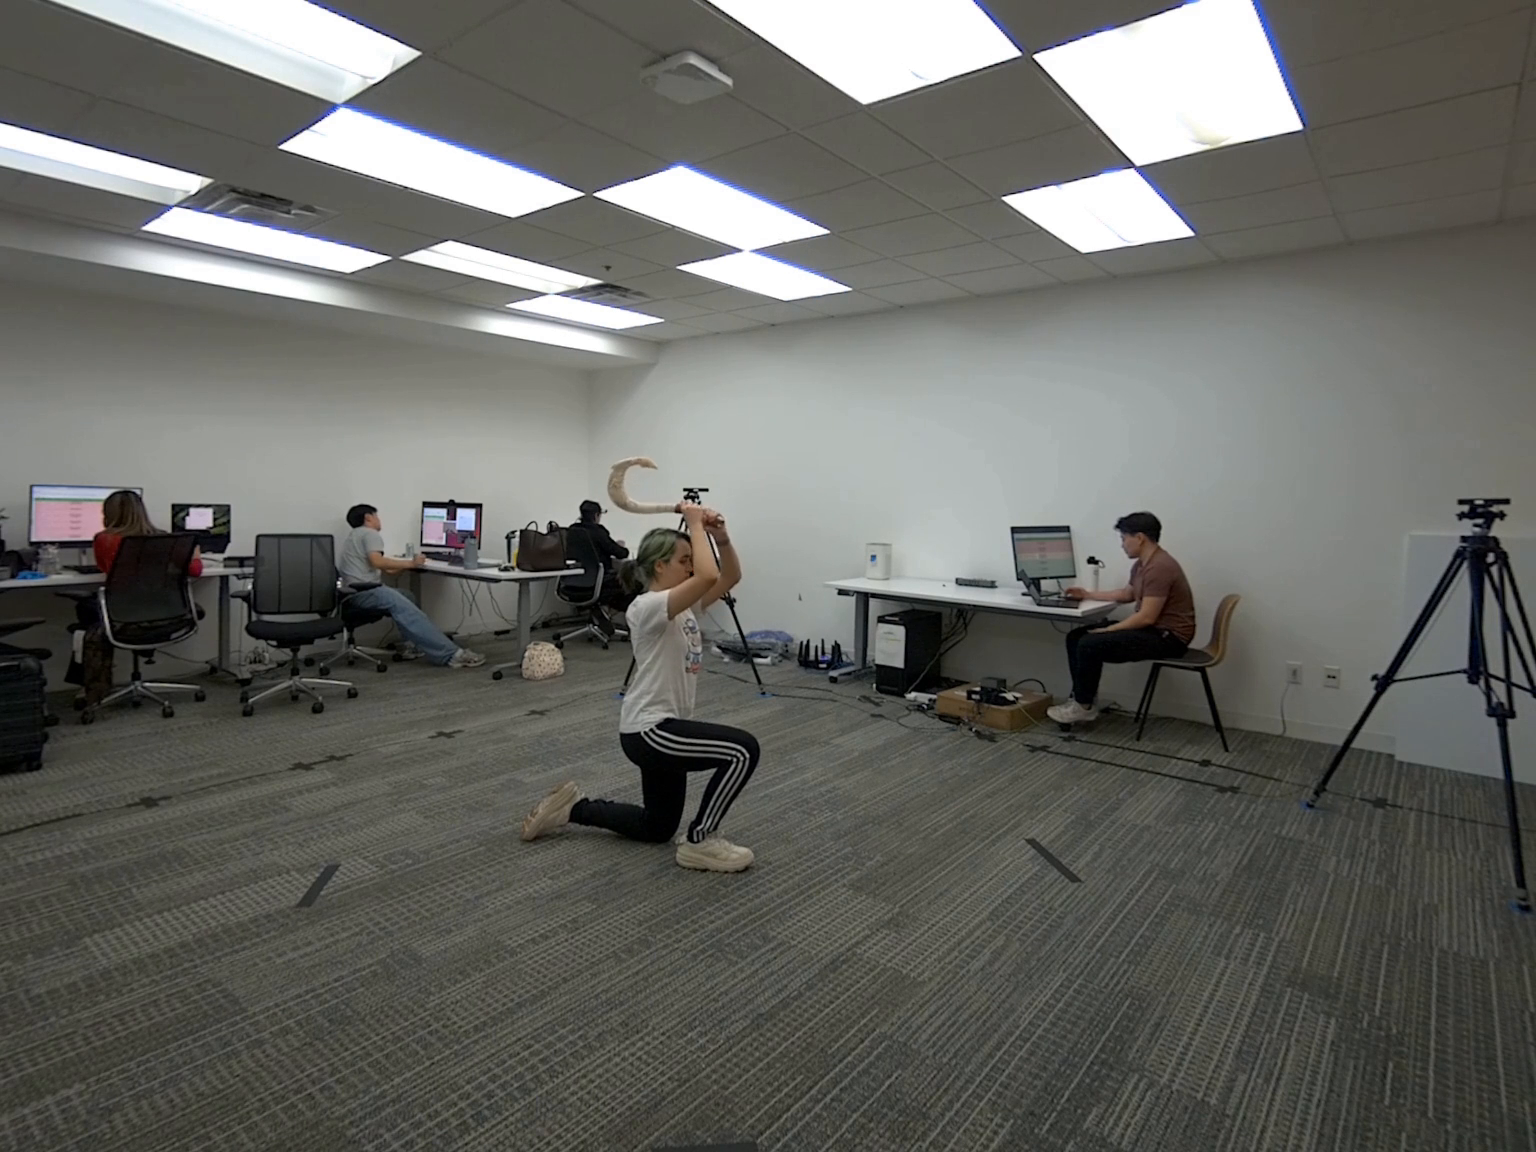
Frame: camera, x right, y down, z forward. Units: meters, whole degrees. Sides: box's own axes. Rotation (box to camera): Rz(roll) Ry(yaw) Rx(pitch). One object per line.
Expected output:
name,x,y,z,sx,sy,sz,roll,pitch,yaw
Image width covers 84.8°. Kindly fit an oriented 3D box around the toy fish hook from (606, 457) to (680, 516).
toy fish hook,-0.384,-0.327,3.292,0.517,0.222,0.048,15,14,16
